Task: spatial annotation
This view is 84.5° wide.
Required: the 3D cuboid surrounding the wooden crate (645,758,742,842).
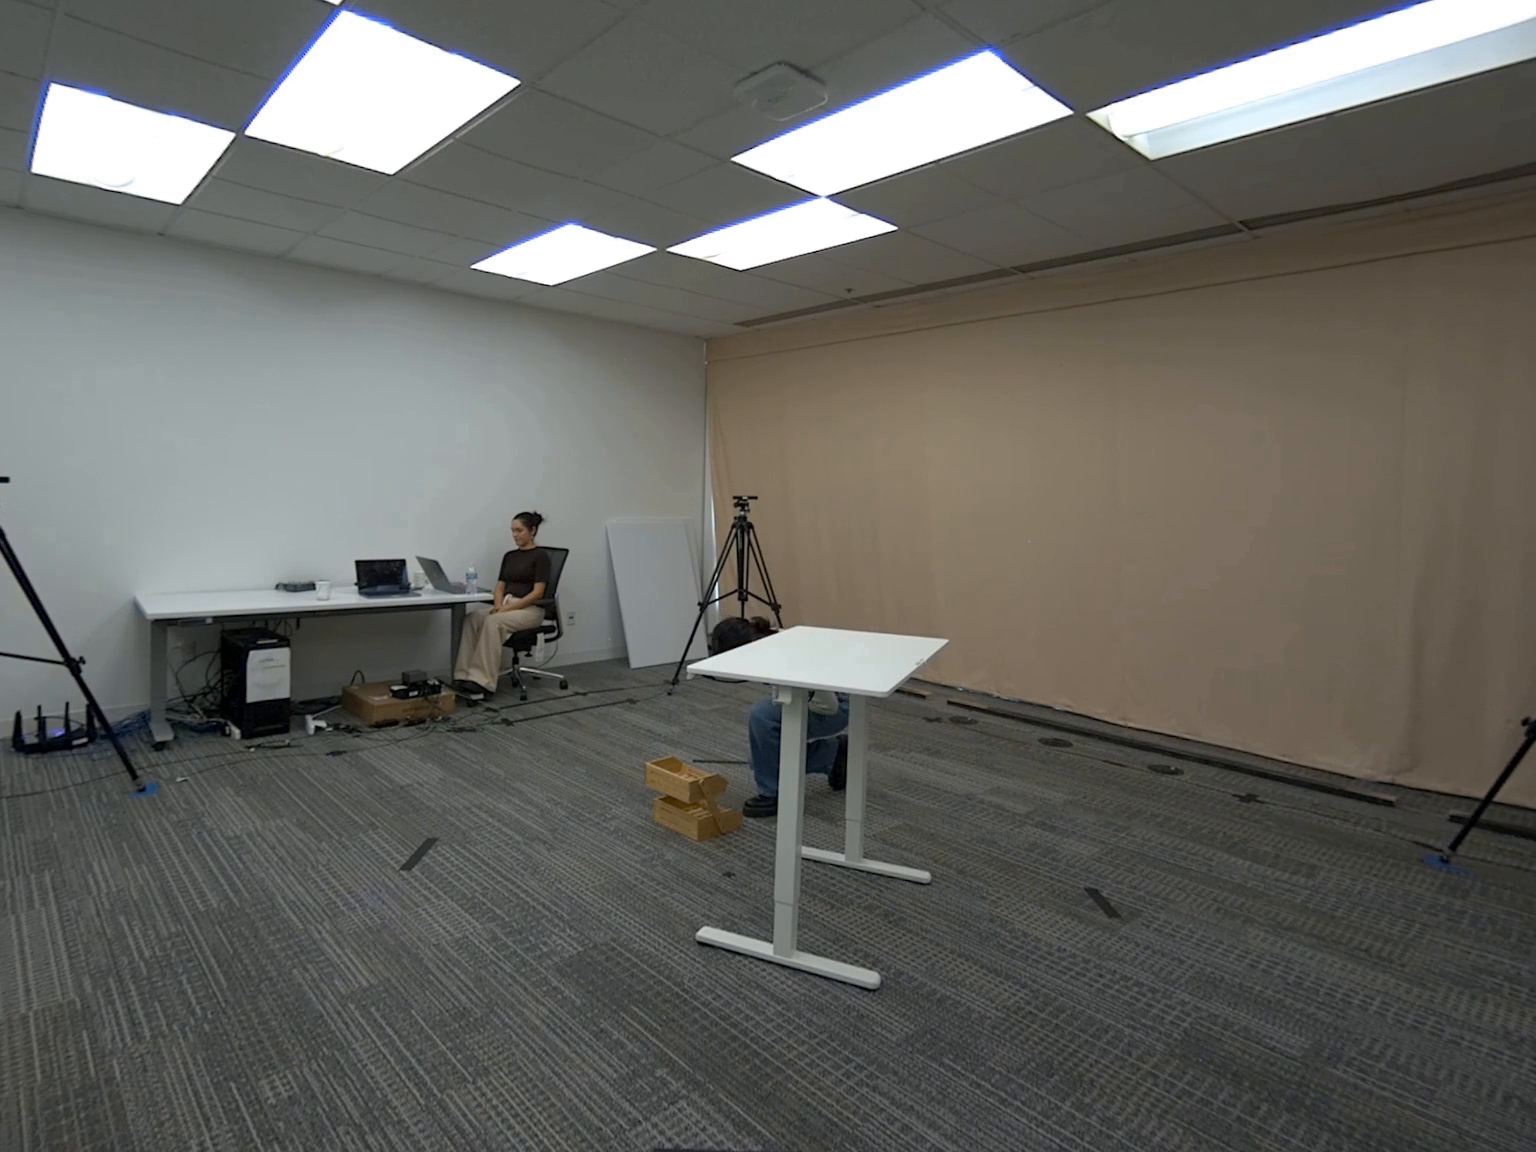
[{"bbox_3d":[-0.324,0.923,3.565,0.295,0.272,0.333,-4,7,-44],"label":"wooden crate"}]
